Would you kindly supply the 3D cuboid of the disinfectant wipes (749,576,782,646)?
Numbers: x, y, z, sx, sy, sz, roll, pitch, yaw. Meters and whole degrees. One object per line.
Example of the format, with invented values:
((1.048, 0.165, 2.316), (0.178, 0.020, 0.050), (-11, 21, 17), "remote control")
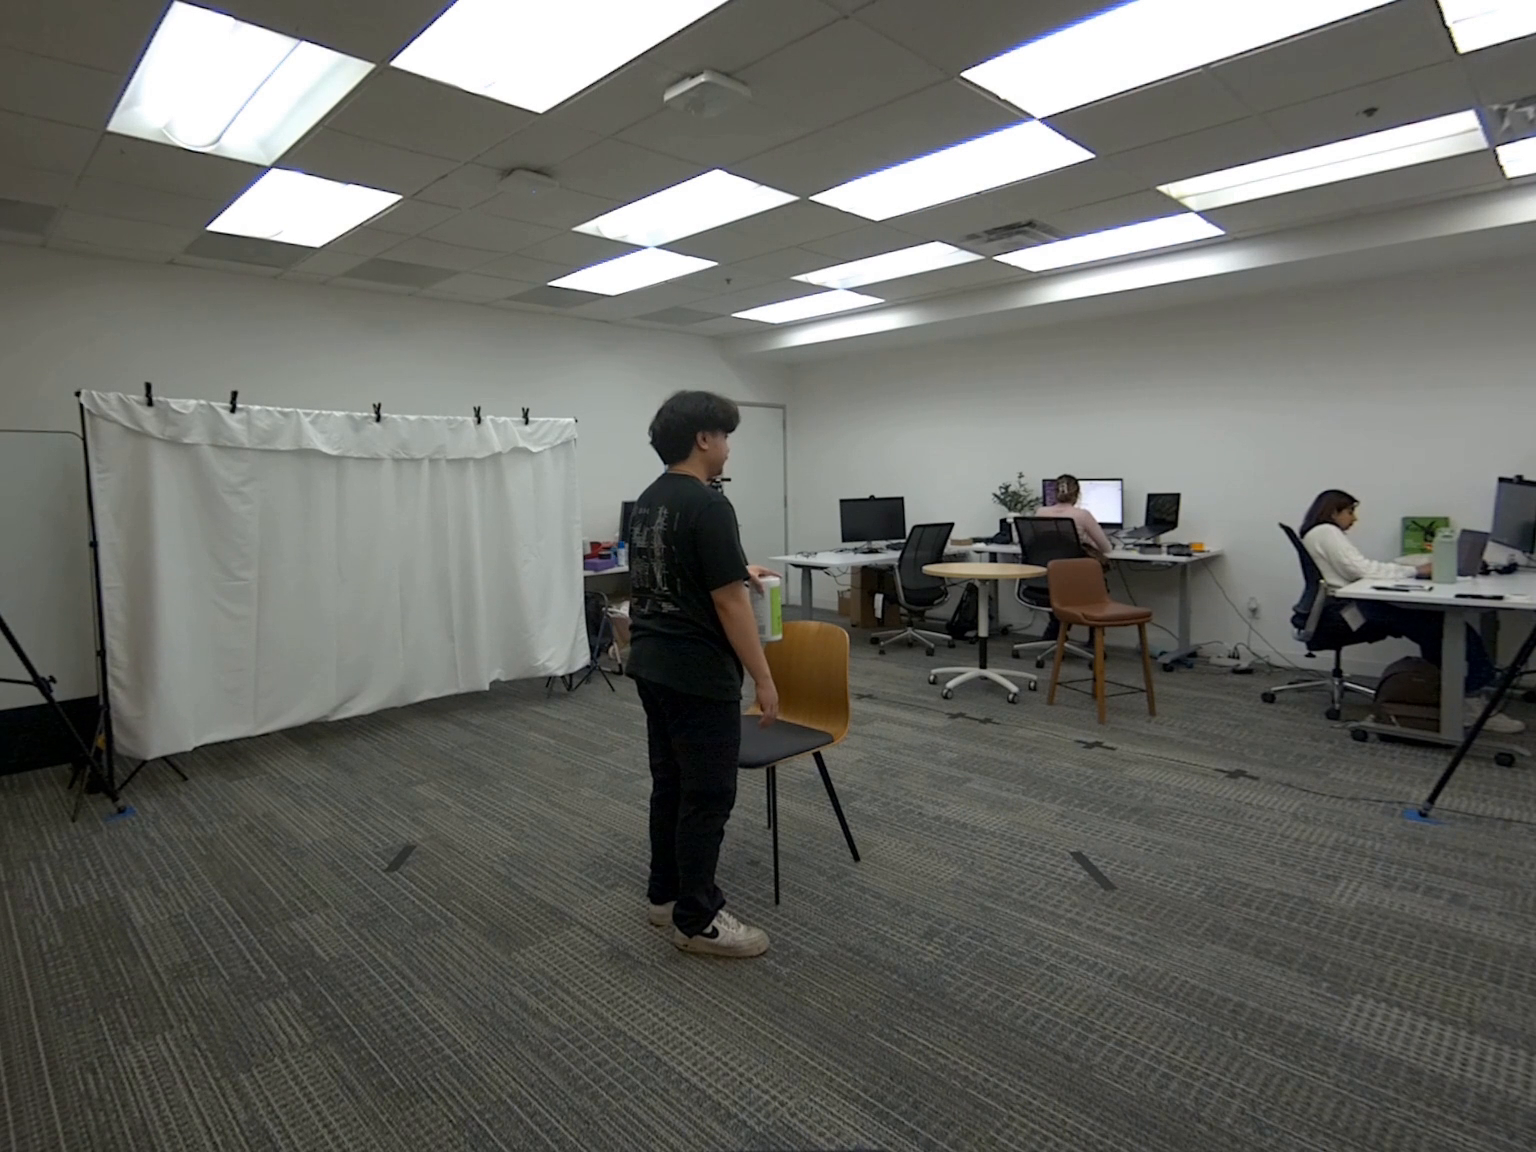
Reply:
((-0.008, 0.112, 2.942), (0.118, 0.216, 0.118), (-5, 5, -1), "disinfectant wipes")
